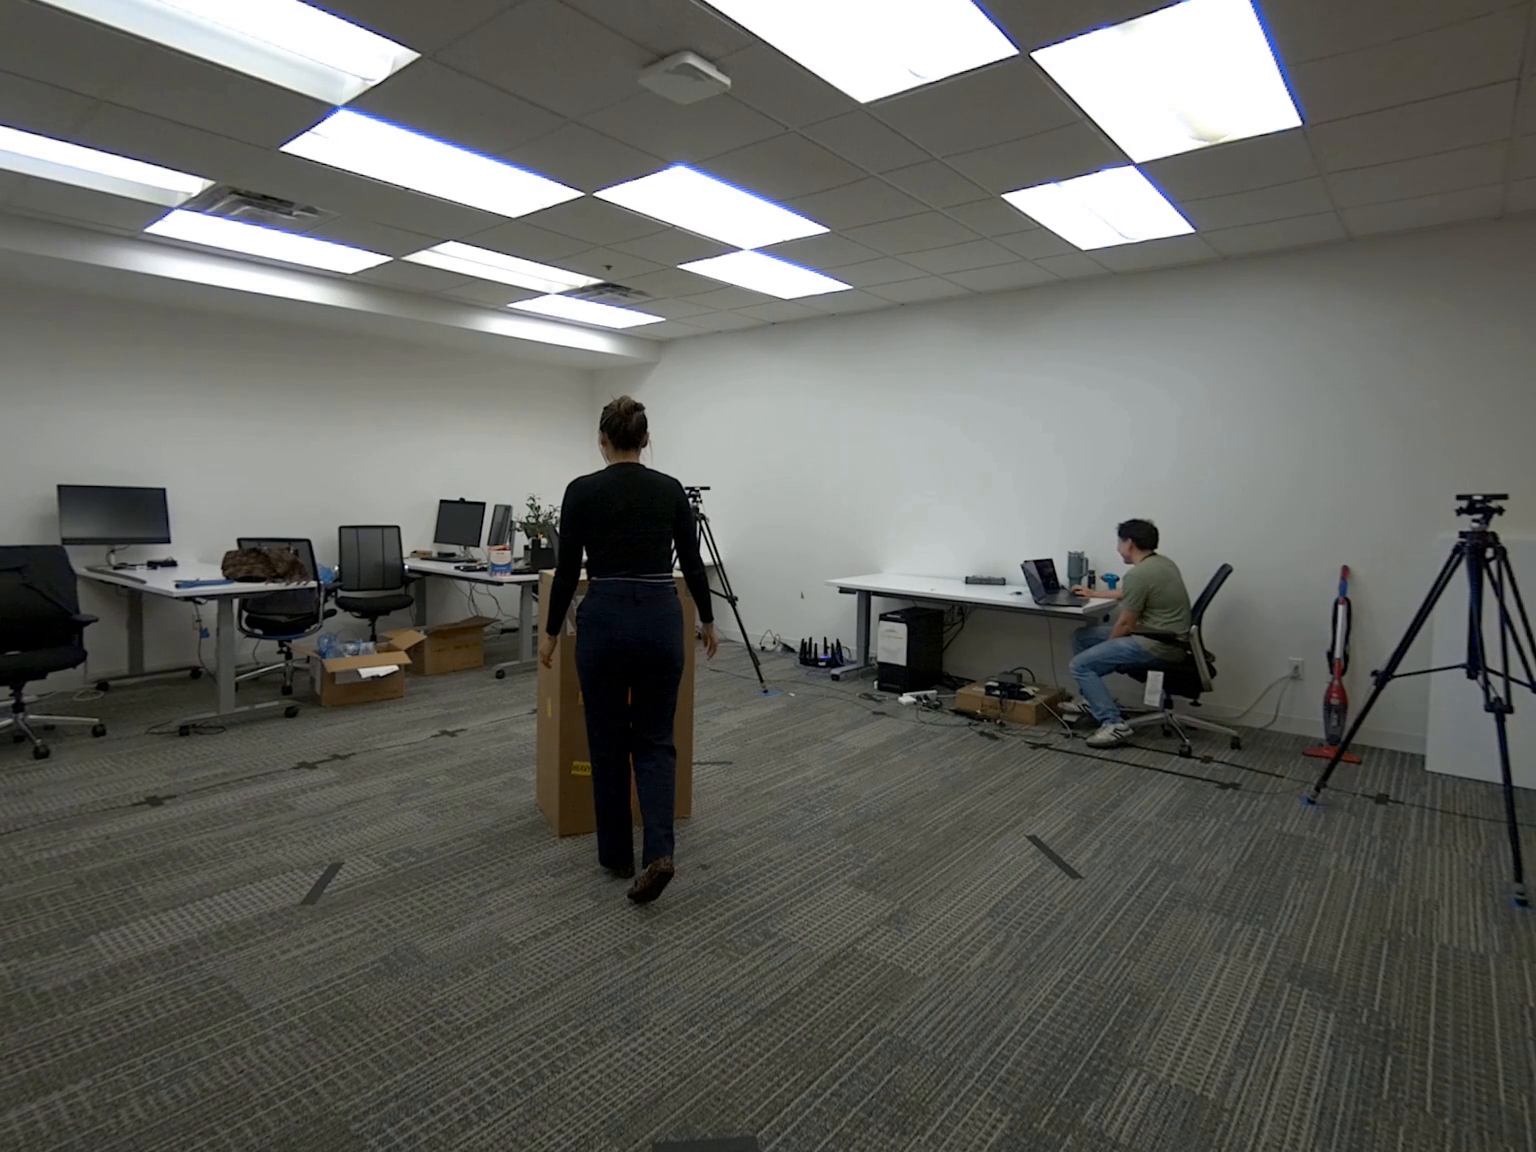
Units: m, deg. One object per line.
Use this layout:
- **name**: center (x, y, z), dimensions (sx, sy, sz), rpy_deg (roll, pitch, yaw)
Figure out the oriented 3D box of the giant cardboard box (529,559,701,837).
- **giant cardboard box**: center (-0.669, 0.497, 3.637), dimensions (0.564, 1.023, 0.438), rpy_deg (-1, 4, -25)
